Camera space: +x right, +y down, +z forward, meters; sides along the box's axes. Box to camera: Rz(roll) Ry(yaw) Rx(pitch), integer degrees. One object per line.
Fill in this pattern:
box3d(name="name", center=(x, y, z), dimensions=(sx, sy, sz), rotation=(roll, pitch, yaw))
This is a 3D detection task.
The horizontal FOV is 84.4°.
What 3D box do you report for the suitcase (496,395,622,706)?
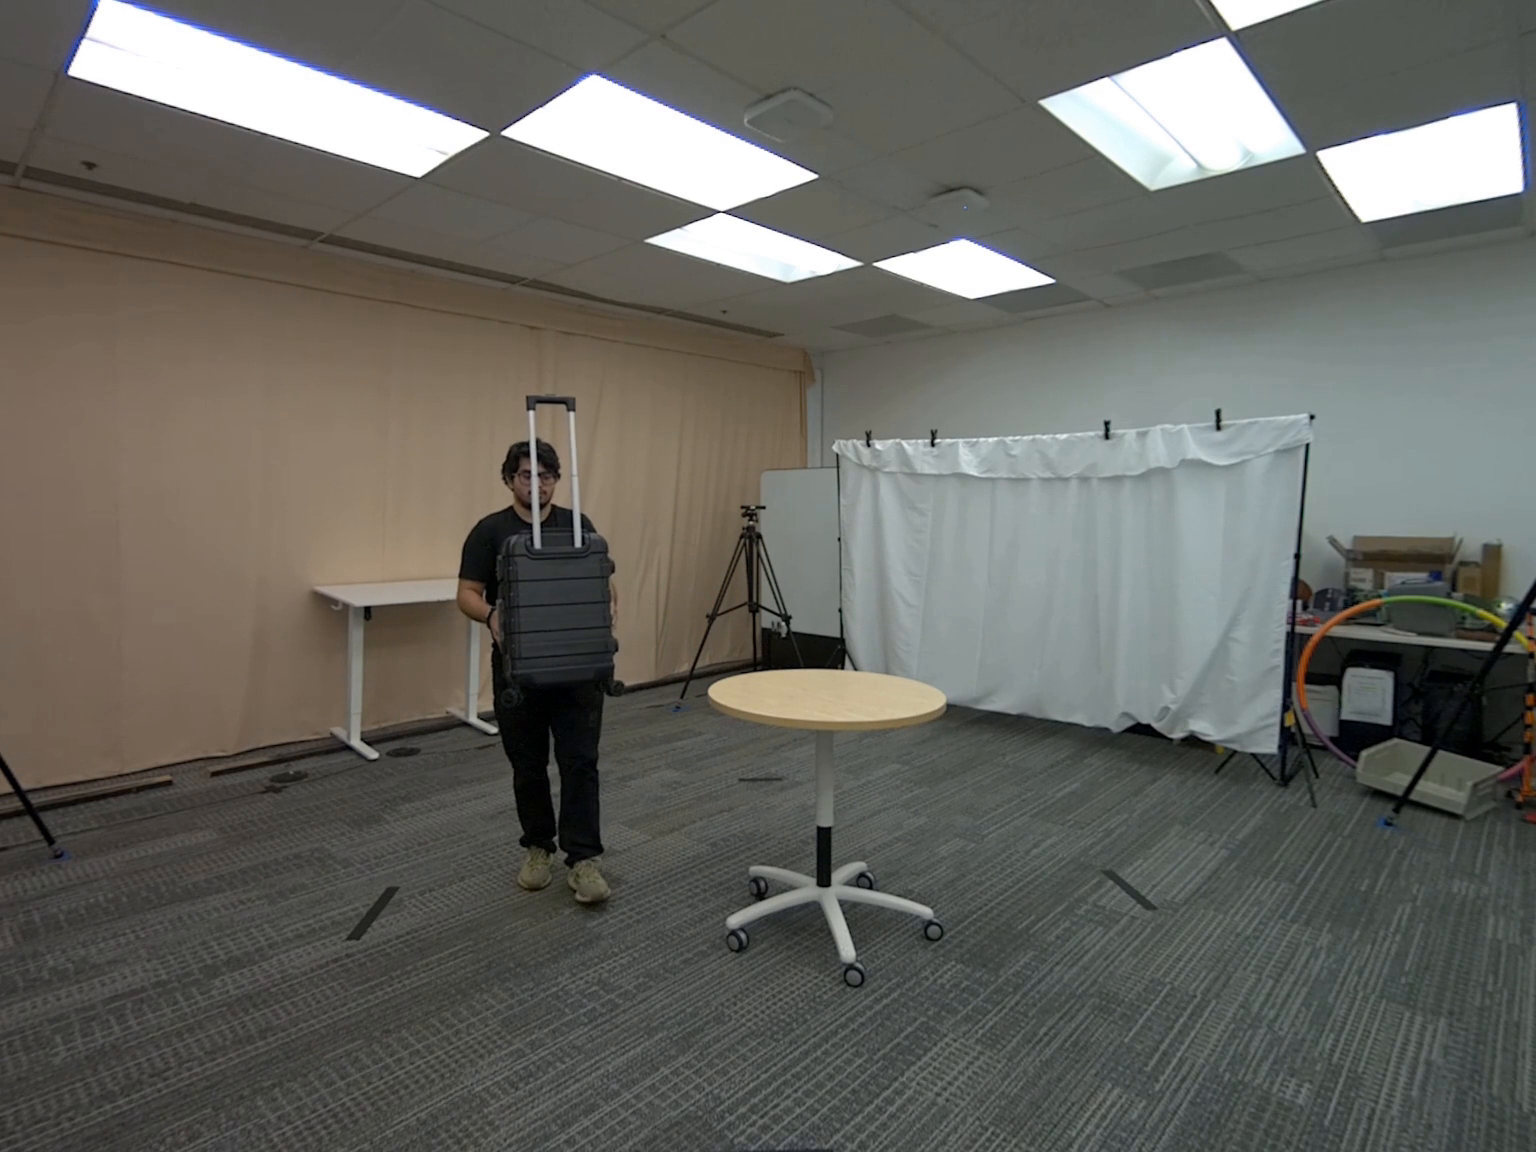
box3d(name="suitcase", center=(-0.709, -0.082, 2.788), dimensions=(0.377, 0.982, 0.261), rotation=(-2, -5, -17))
